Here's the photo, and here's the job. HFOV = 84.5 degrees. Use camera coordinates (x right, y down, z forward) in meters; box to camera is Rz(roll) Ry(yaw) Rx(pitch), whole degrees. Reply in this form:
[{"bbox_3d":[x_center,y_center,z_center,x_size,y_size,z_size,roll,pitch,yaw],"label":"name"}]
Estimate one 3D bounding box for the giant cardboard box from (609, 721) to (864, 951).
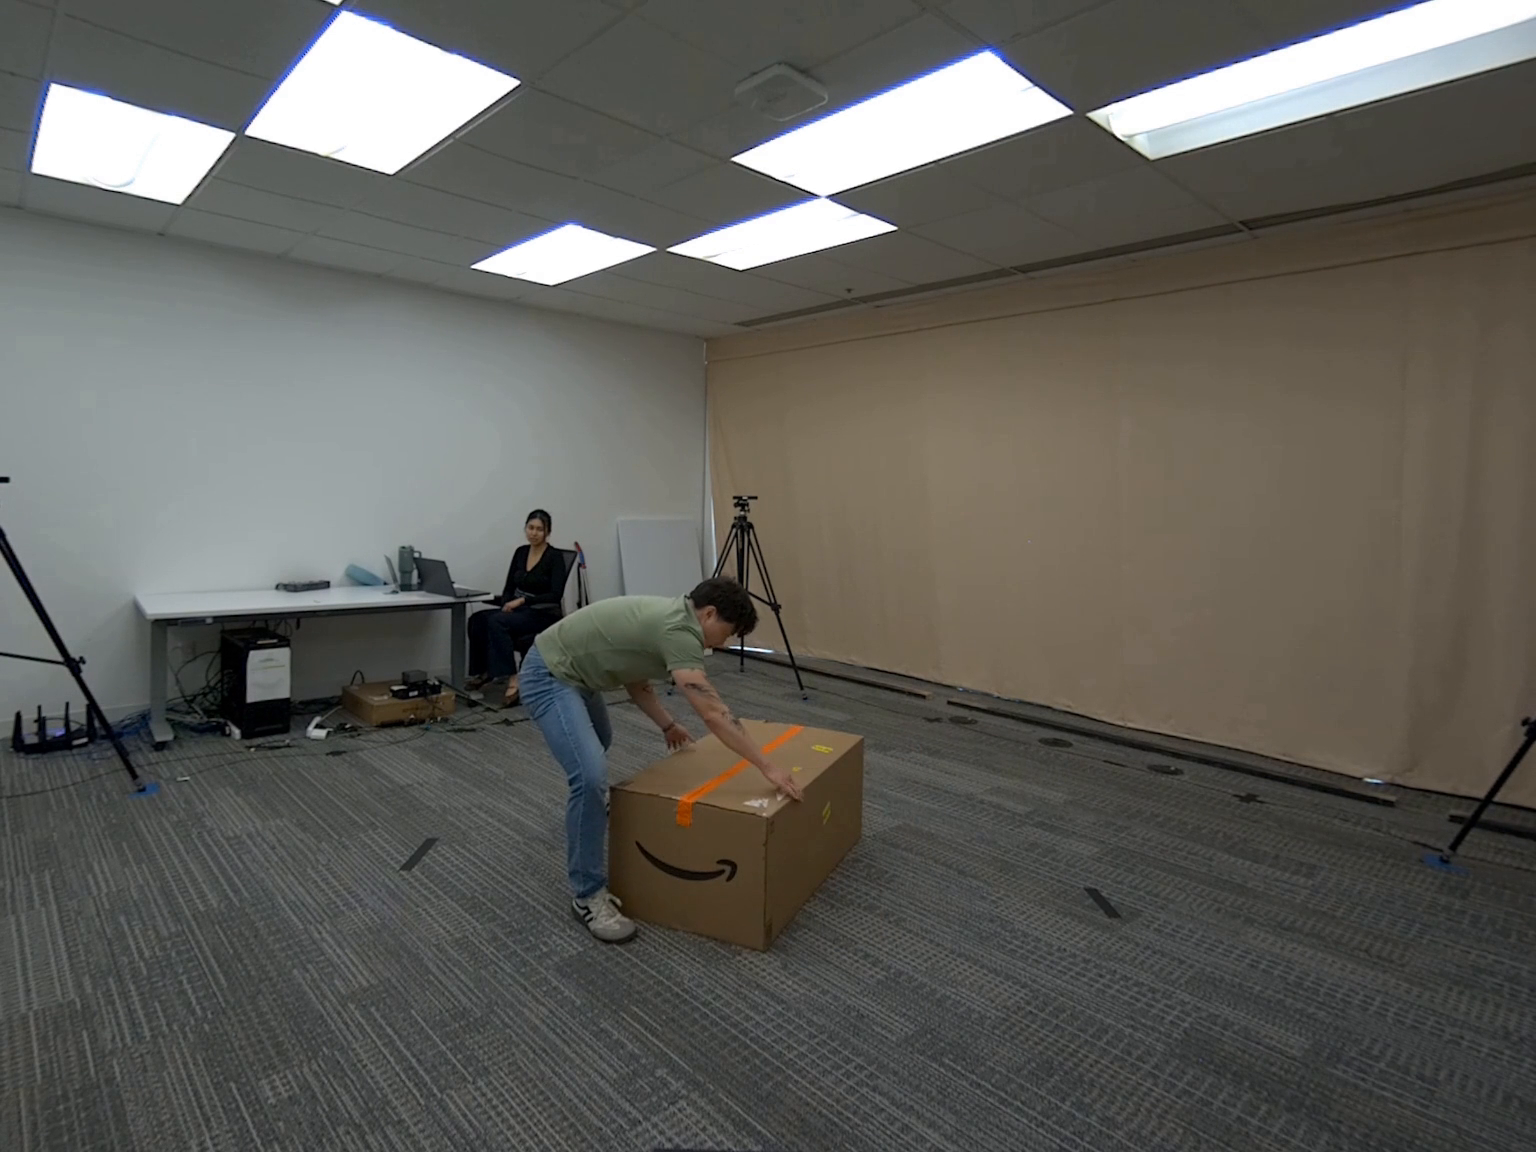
[{"bbox_3d":[-0.070,0.886,3.136,0.588,0.425,1.010,4,6,24],"label":"giant cardboard box"}]
